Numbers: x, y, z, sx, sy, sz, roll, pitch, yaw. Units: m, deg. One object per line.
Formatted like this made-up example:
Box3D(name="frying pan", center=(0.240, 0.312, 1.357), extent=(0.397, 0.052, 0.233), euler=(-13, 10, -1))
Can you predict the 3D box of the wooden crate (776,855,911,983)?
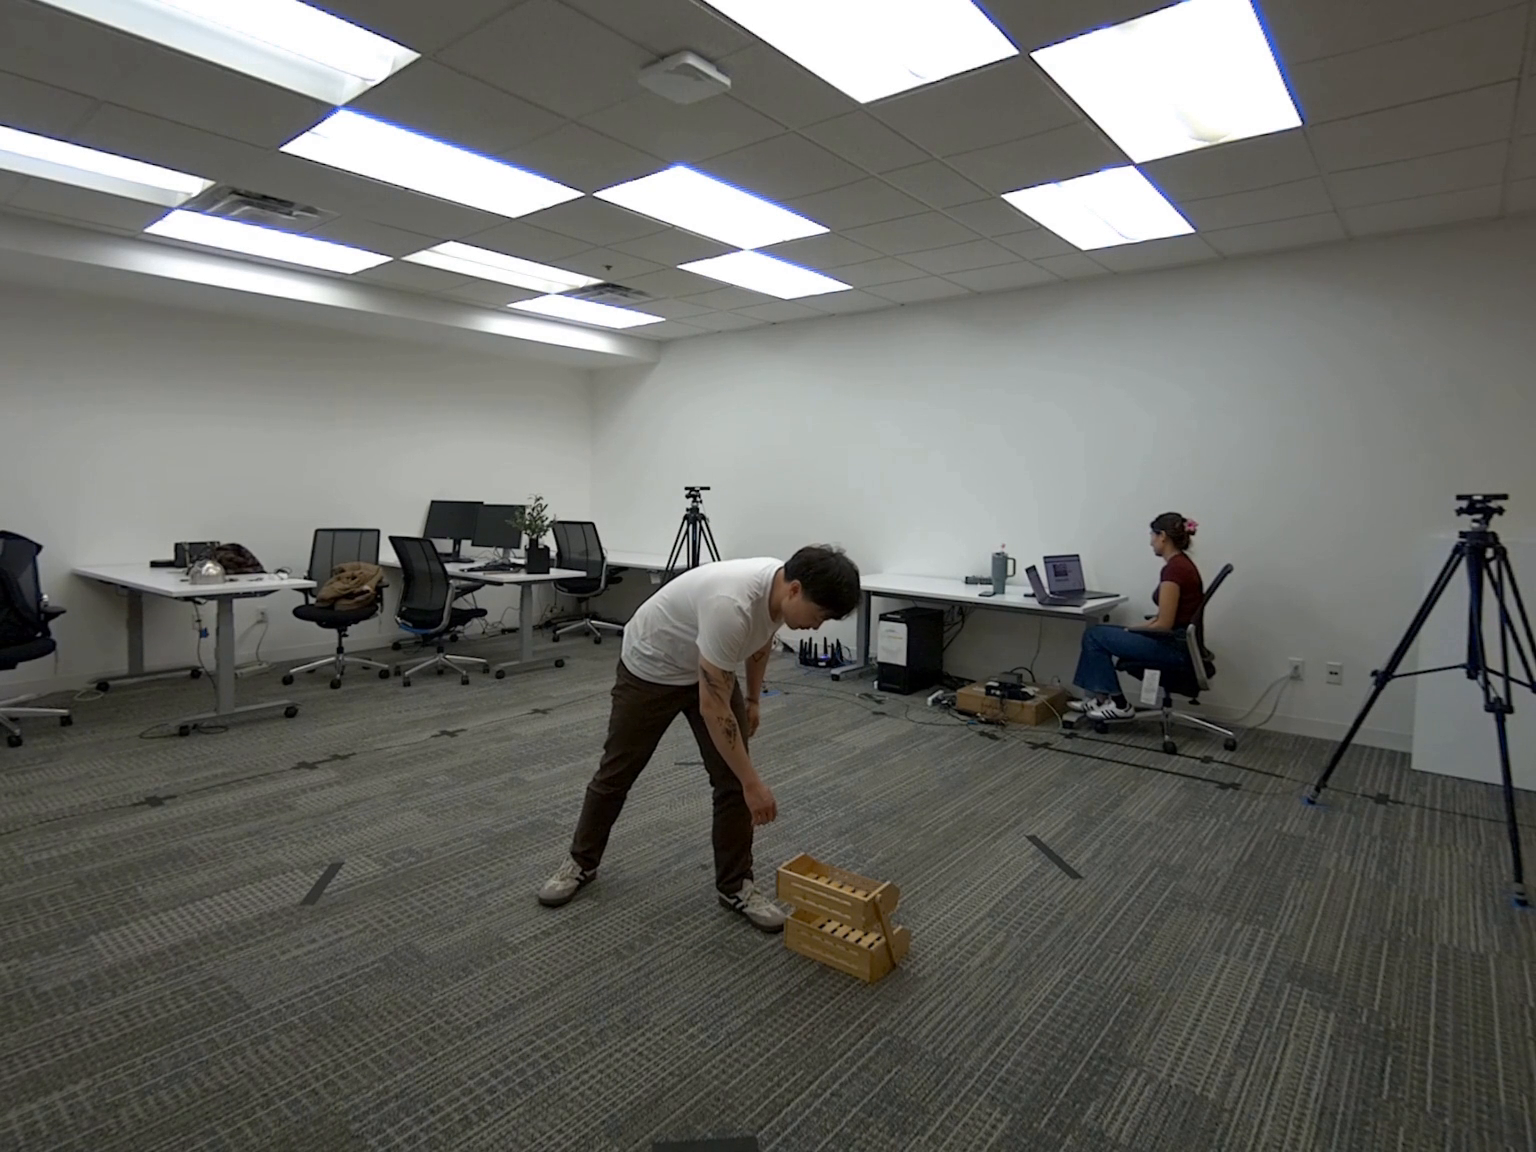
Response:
Box3D(name="wooden crate", center=(0.224, 0.993, 2.558), extent=(0.335, 0.272, 0.293), euler=(5, 6, 36))
